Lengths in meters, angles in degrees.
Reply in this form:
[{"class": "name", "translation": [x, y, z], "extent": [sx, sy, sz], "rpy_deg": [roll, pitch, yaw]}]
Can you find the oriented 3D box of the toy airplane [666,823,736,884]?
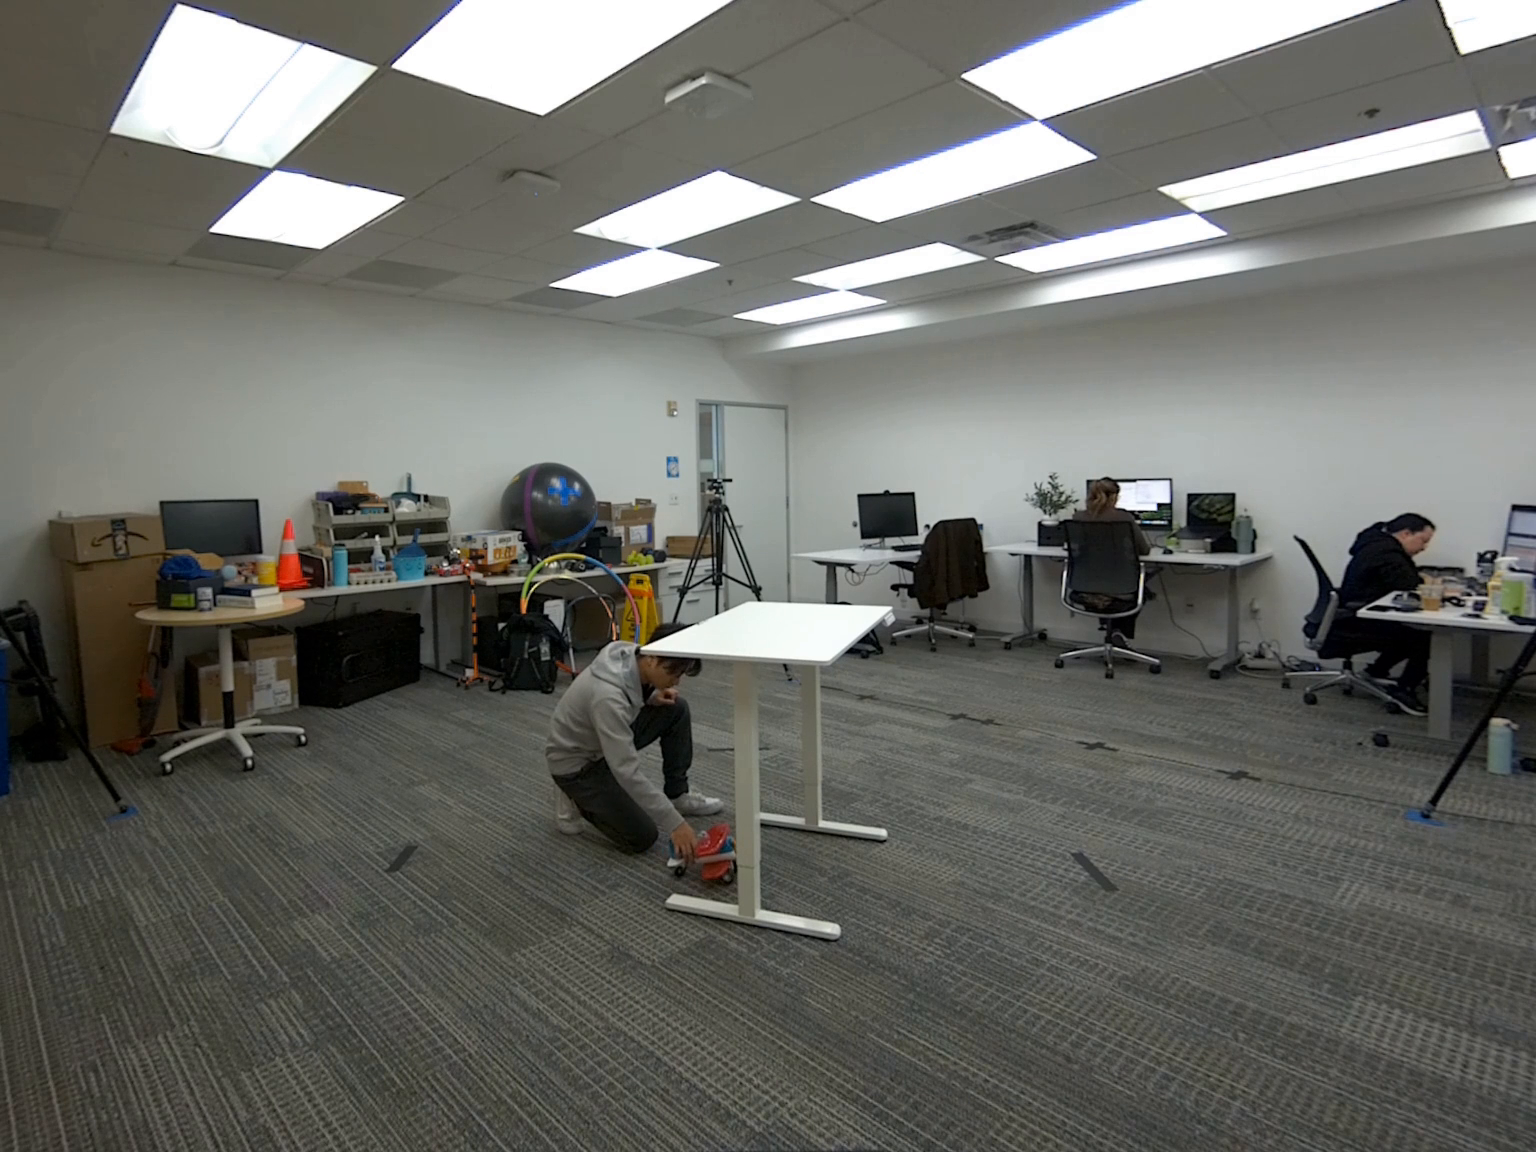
[{"class": "toy airplane", "translation": [-0.214, 0.987, 2.986], "extent": [0.255, 0.156, 0.256], "rpy_deg": [-1, 4, -19]}]
